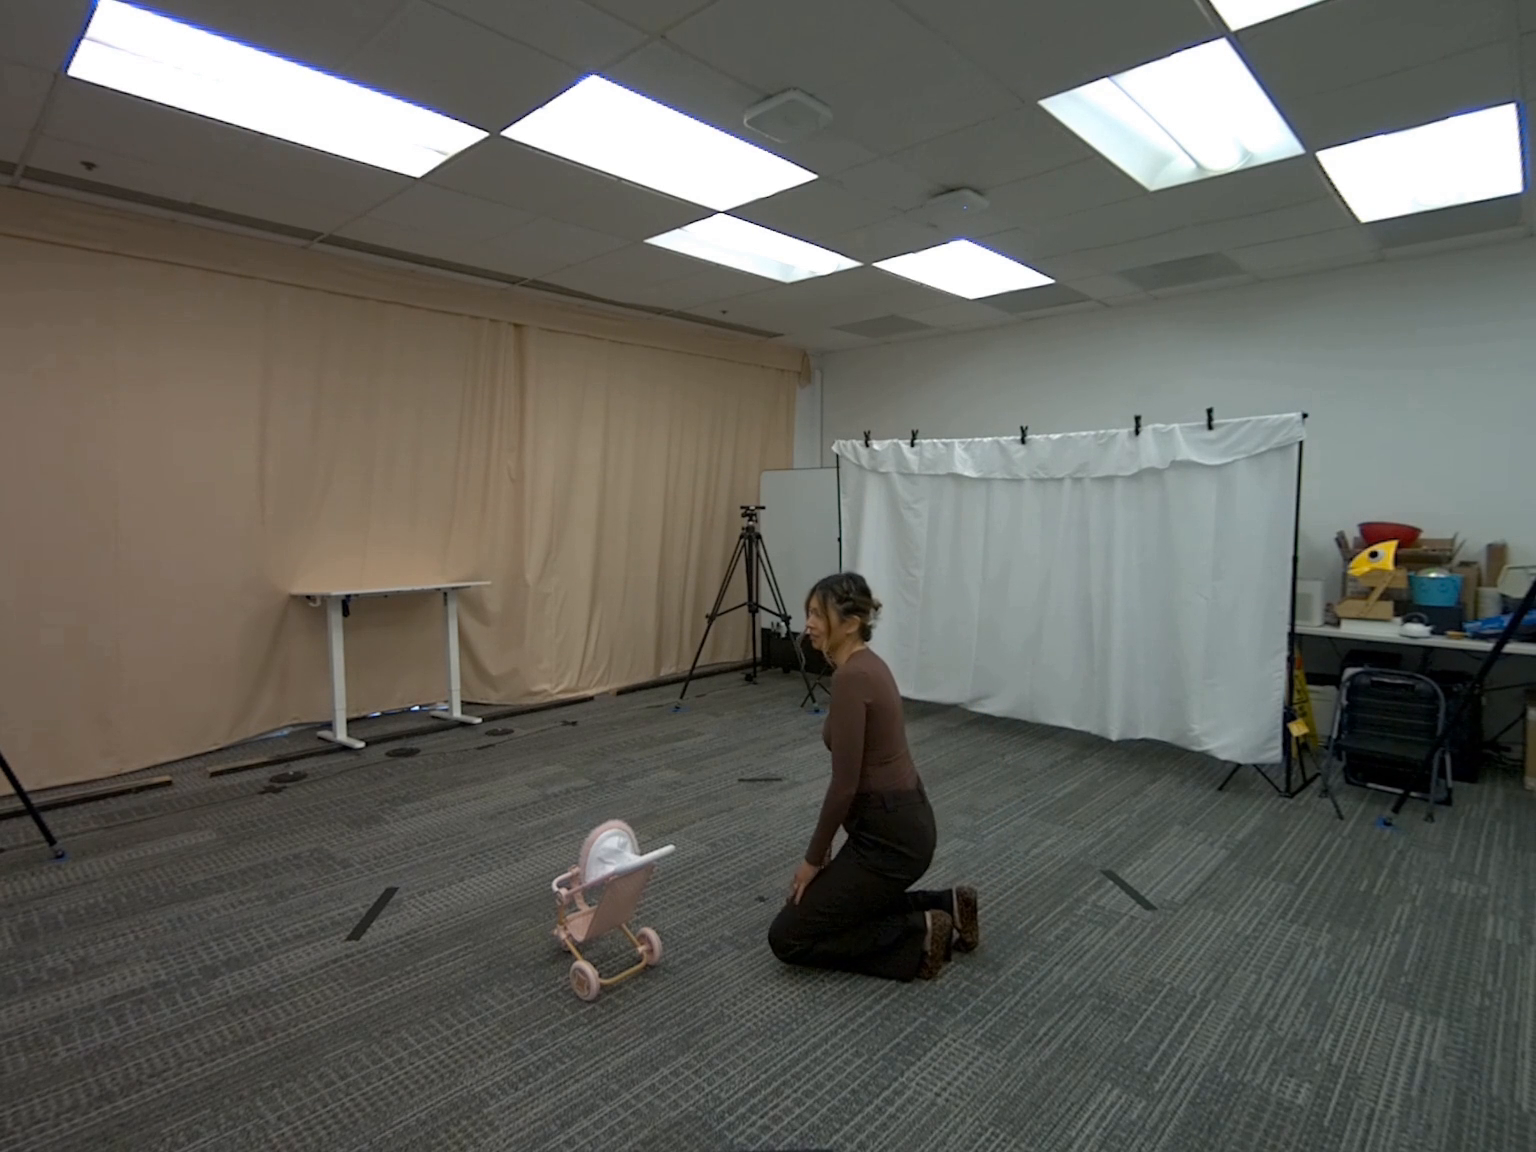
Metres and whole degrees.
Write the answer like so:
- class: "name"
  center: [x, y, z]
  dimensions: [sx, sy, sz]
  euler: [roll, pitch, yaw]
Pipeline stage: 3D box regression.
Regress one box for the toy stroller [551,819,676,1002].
- class: "toy stroller"
  center: [-0.485, 0.968, 2.508]
  dimensions: [0.273, 0.532, 0.354]
  euler: [-2, 20, -45]
